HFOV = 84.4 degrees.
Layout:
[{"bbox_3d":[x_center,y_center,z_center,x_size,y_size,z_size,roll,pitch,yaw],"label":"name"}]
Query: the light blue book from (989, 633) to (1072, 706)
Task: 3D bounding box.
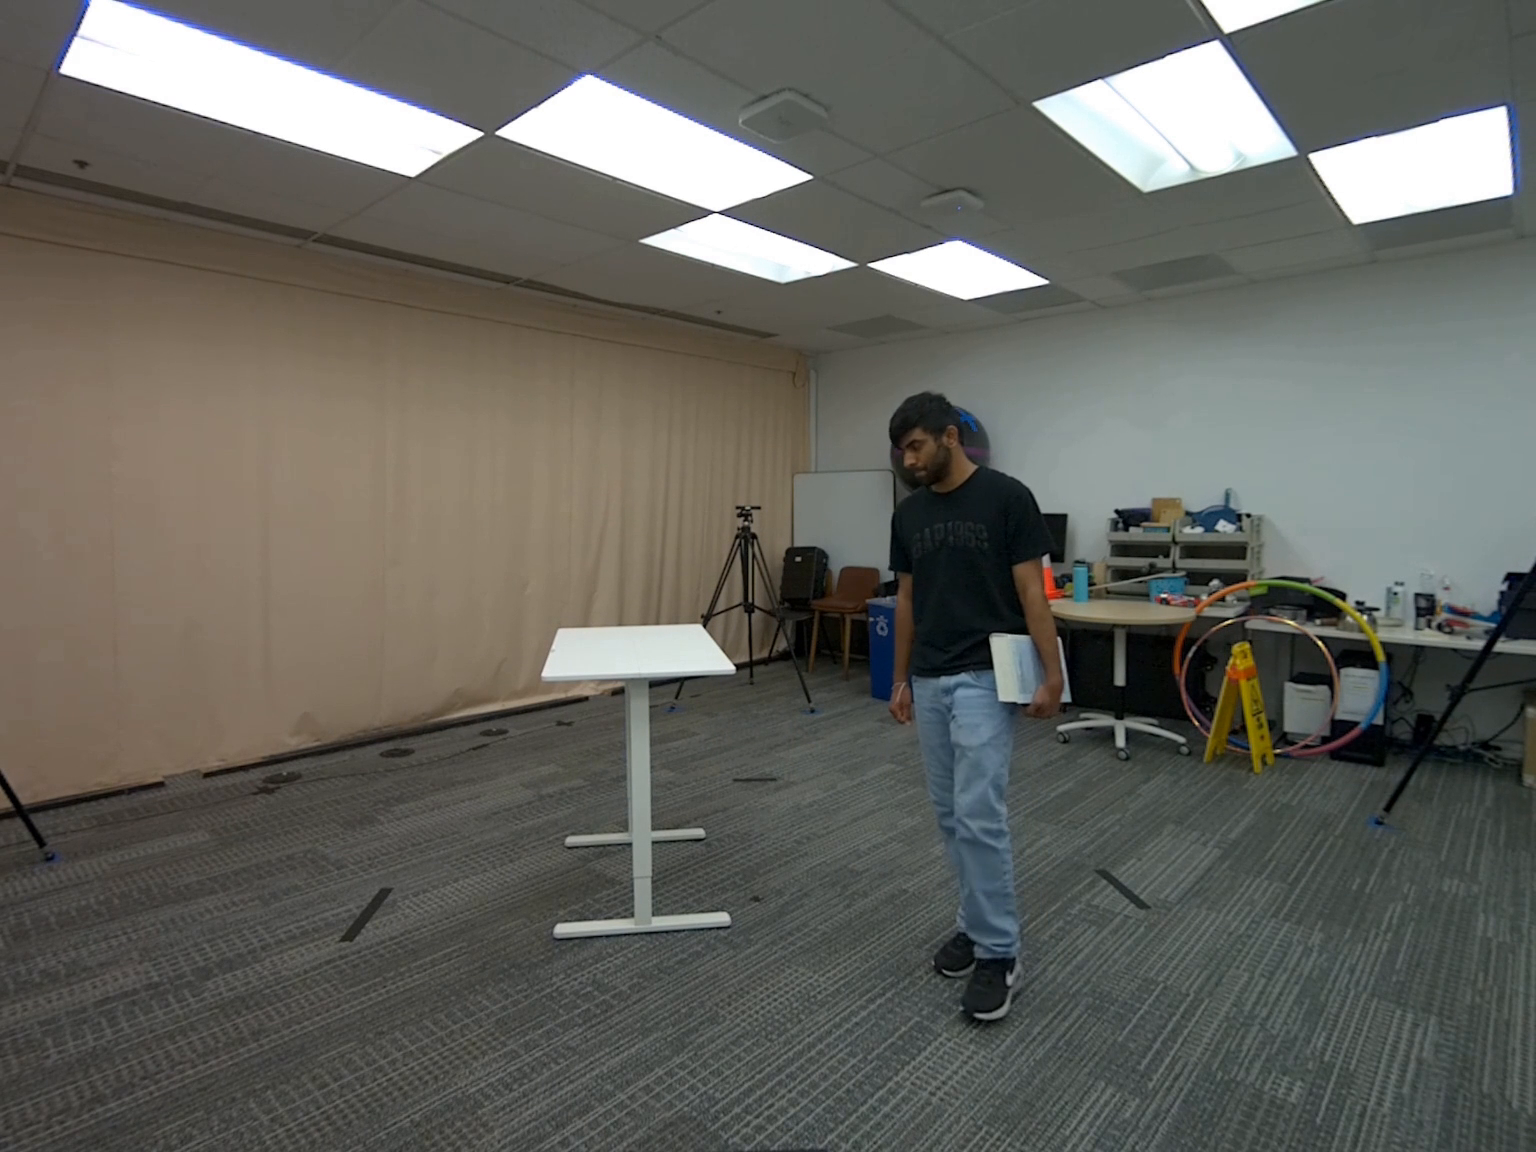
[{"bbox_3d":[0.736,0.262,2.380,0.252,0.193,0.060,6,-16,-38],"label":"light blue book"}]
